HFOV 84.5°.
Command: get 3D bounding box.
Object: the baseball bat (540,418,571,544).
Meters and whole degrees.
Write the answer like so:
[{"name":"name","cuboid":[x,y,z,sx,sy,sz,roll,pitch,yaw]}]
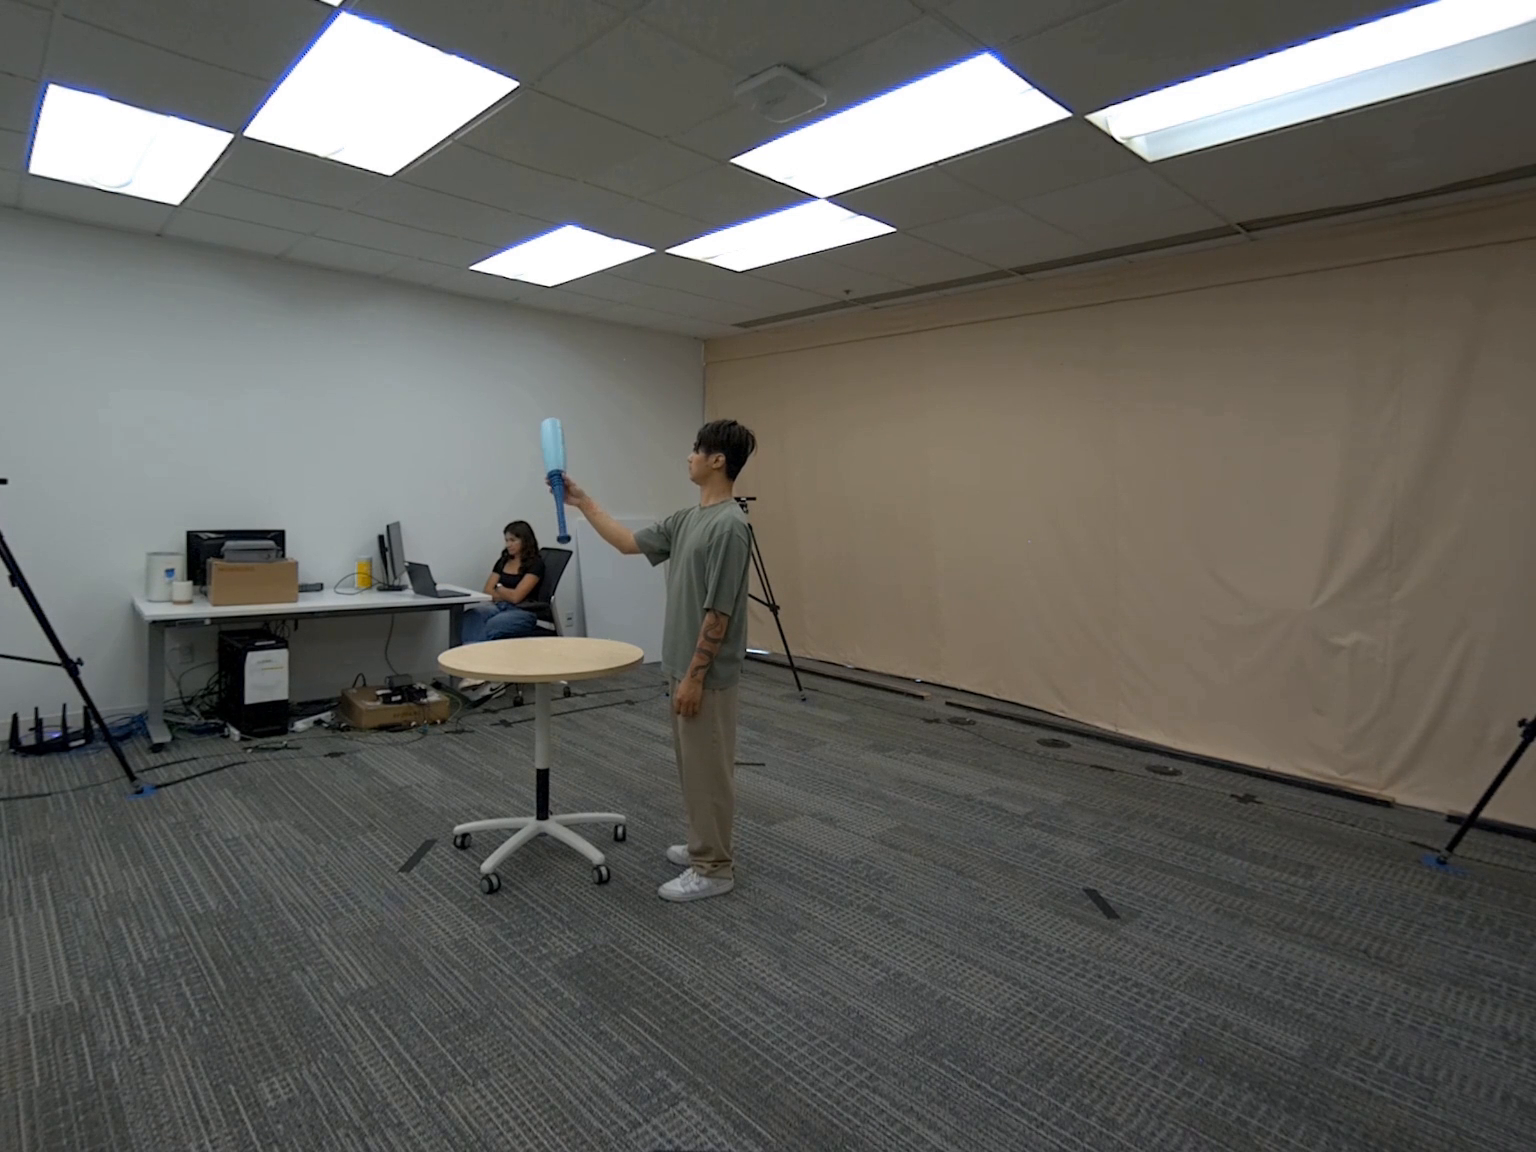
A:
[{"name":"baseball bat","cuboid":[-0.785,-0.352,3.100,0.089,0.555,0.087,-8,-30,-6]}]
